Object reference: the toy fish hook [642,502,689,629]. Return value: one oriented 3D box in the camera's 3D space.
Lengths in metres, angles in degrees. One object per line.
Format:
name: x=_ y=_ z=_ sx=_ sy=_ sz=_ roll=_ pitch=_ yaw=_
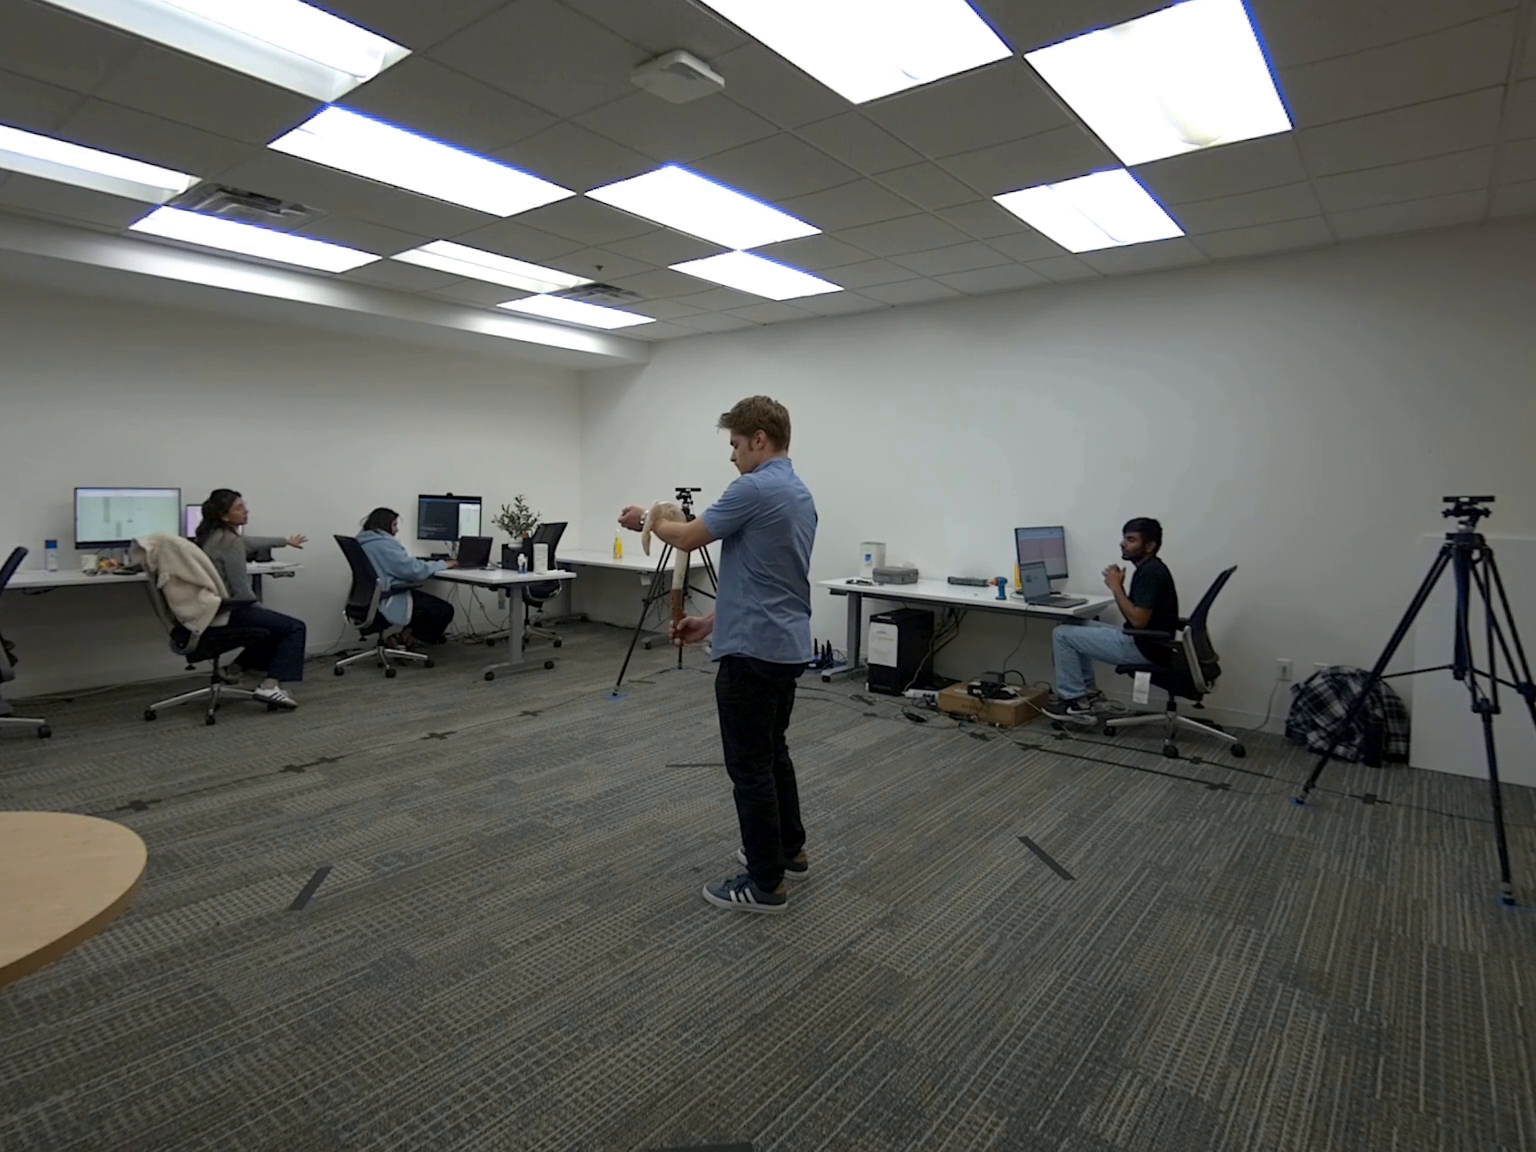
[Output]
toy fish hook: x=-0.361 y=-0.011 z=2.958 sx=0.217 sy=0.511 sz=0.049 roll=2 pitch=-10 yaw=-43
